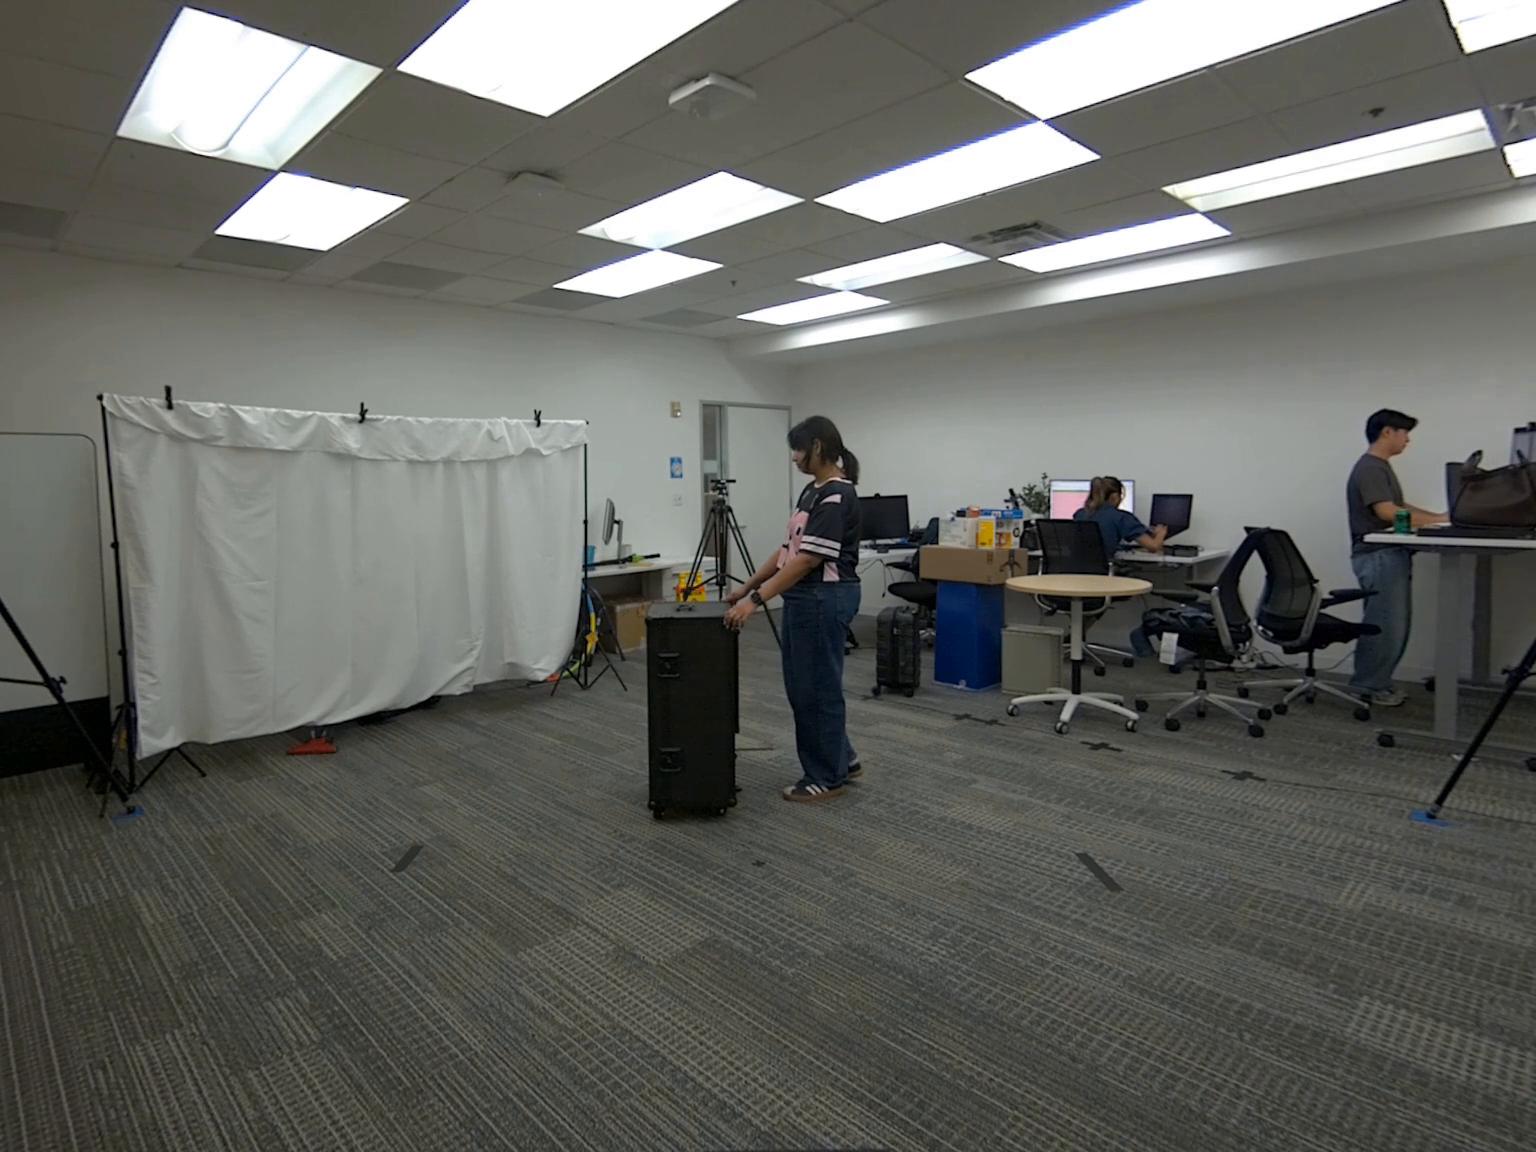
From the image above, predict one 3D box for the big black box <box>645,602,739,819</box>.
[{"bbox_3d":[-0.328,0.565,3.693,0.384,0.866,0.527,0,4,-4],"label":"big black box"}]
